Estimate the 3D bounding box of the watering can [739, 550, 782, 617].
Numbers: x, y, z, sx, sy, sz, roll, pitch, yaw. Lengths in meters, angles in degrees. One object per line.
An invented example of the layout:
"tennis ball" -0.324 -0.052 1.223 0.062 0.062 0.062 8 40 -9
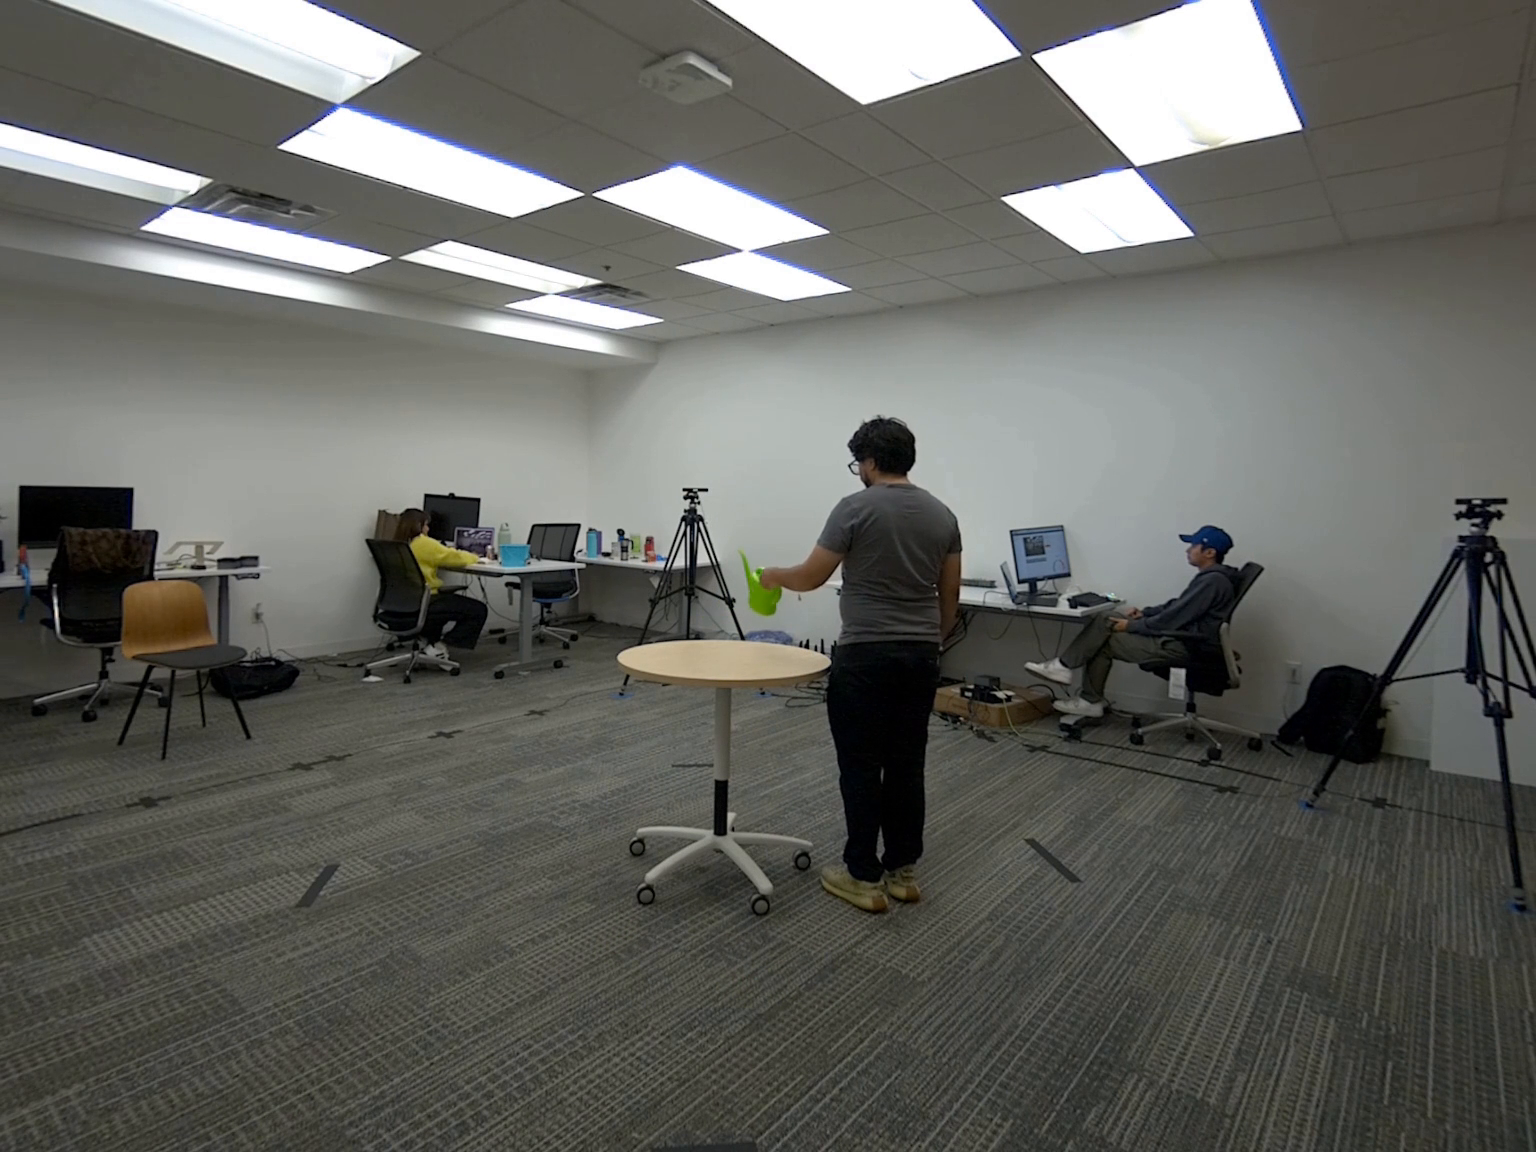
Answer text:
"watering can" -0.049 0.029 3.331 0.096 0.173 0.290 -9 36 -28
